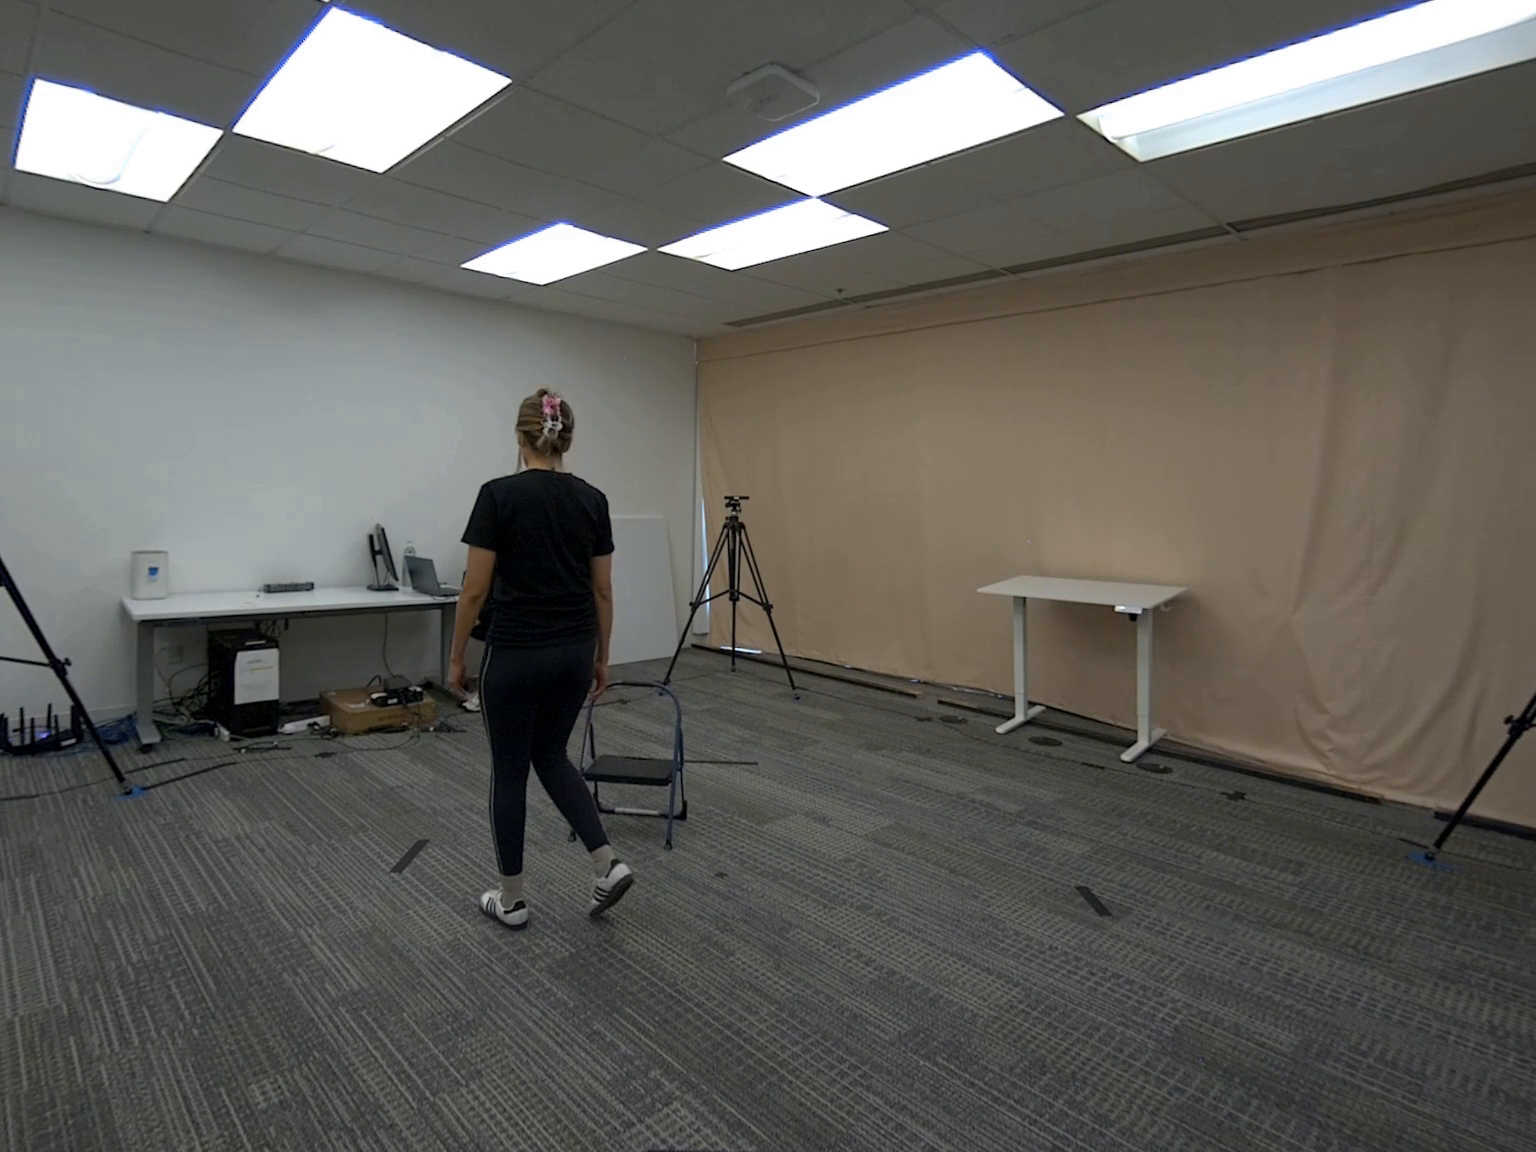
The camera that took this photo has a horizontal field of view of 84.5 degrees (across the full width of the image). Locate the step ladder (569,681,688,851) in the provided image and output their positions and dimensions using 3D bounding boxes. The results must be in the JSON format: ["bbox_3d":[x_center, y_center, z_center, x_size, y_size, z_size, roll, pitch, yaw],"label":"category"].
[{"bbox_3d":[-0.573,0.759,3.502,0.433,0.604,0.348,2,4,7],"label":"step ladder"}]
